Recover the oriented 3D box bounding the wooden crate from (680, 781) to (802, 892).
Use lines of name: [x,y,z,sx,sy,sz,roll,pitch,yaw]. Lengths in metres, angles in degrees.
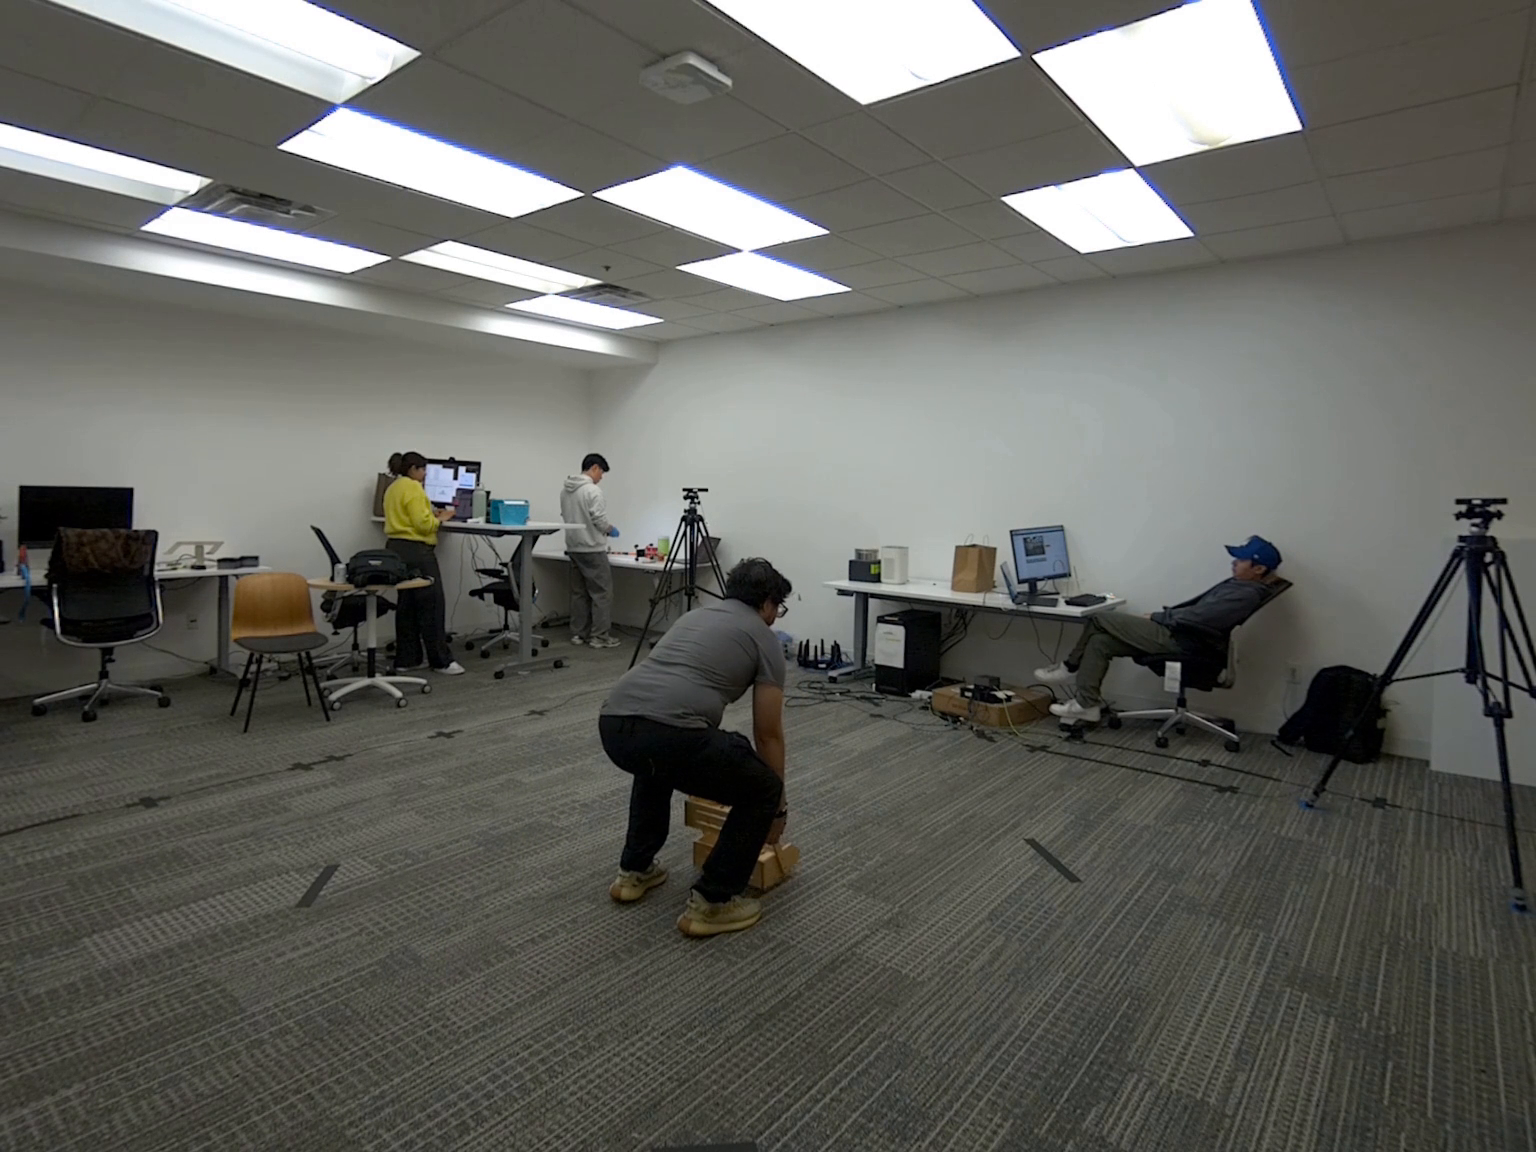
wooden crate: [-0.097,0.904,3.052,0.335,0.272,0.294,5,7,33]
